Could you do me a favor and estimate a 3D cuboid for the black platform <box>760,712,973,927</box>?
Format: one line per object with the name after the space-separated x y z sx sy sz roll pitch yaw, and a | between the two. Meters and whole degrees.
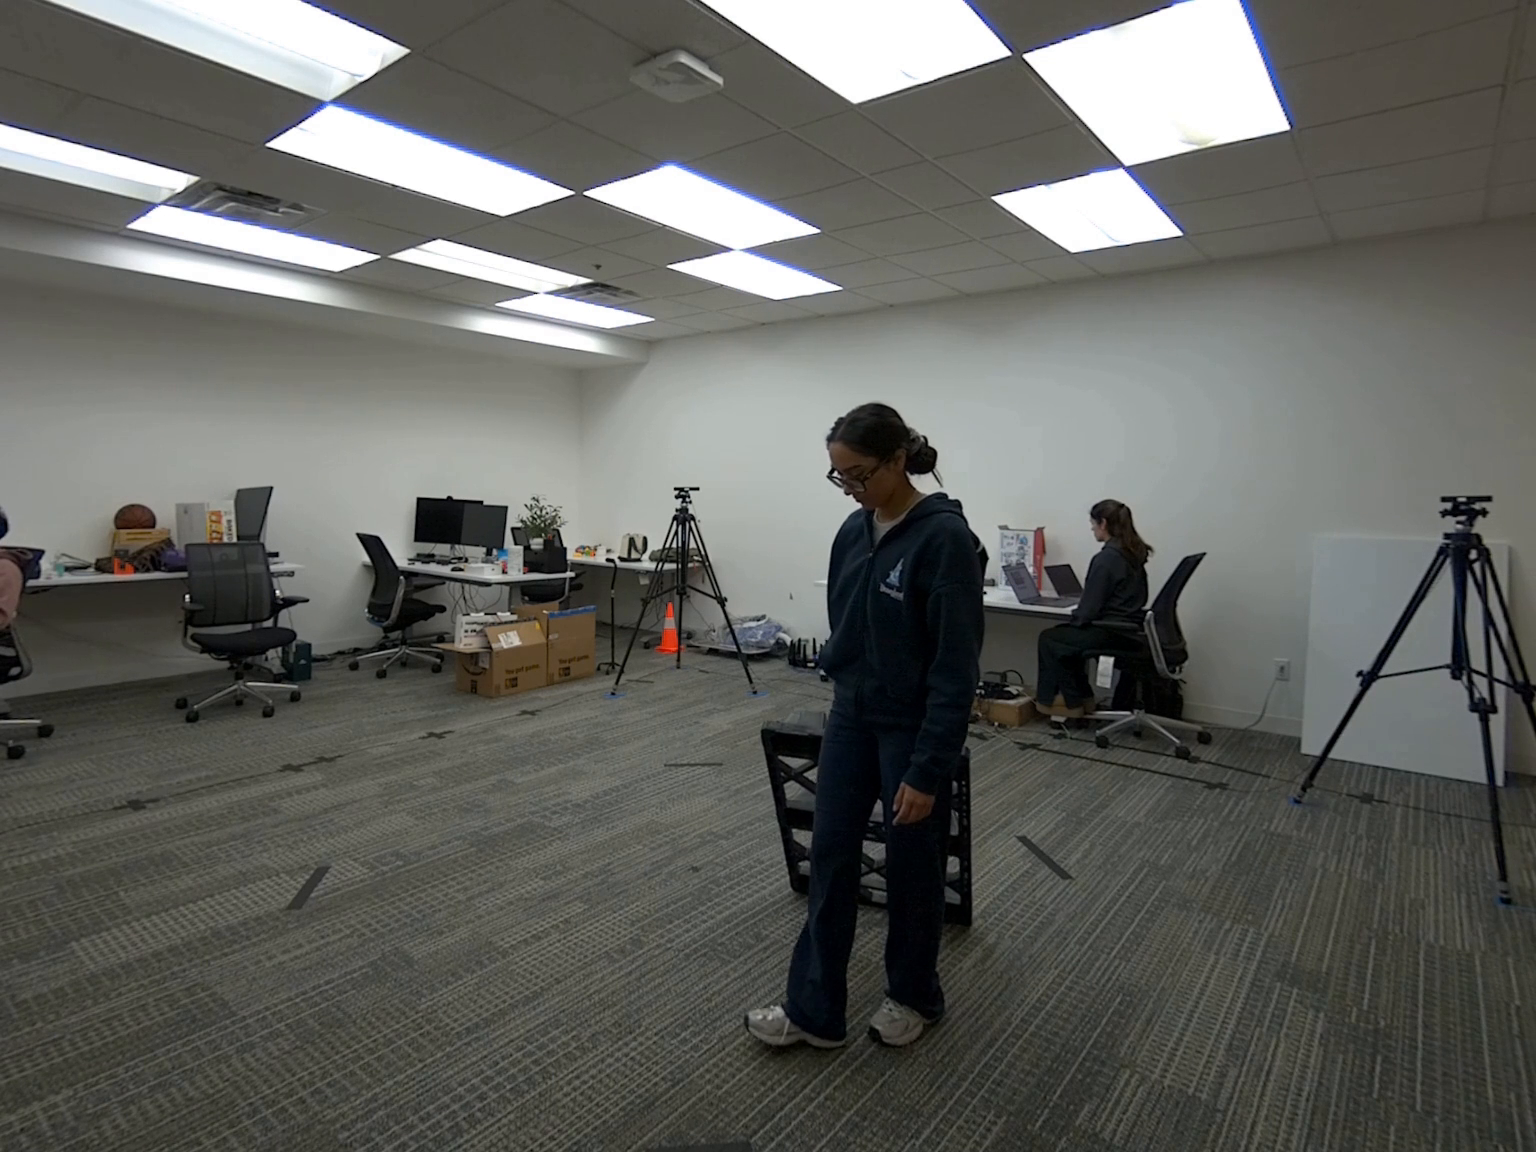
0.310 0.755 2.660 0.619 0.781 0.144 4 36 21 | black platform
